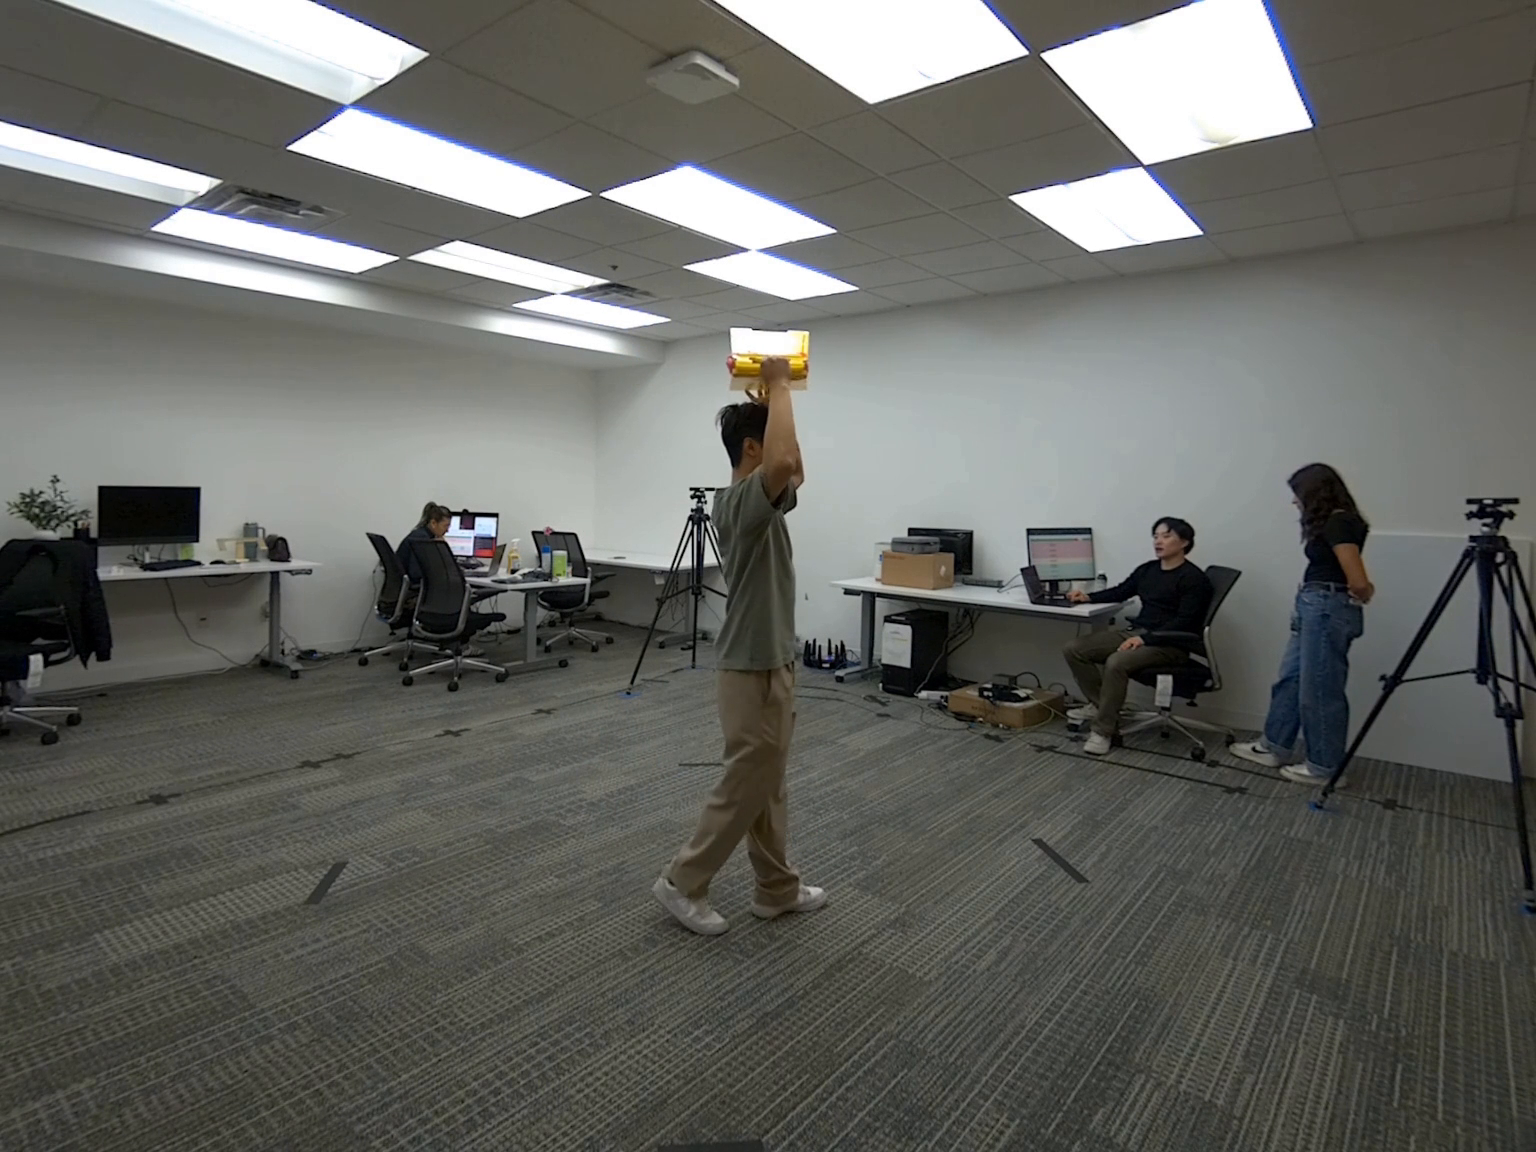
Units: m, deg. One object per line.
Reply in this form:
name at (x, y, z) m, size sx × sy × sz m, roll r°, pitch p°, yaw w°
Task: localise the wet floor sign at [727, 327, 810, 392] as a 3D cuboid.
wet floor sign at (-0.012, -0.690, 2.737) m, size 0.282 × 0.286 × 0.654 m, roll 2°, pitch 14°, yaw -2°
